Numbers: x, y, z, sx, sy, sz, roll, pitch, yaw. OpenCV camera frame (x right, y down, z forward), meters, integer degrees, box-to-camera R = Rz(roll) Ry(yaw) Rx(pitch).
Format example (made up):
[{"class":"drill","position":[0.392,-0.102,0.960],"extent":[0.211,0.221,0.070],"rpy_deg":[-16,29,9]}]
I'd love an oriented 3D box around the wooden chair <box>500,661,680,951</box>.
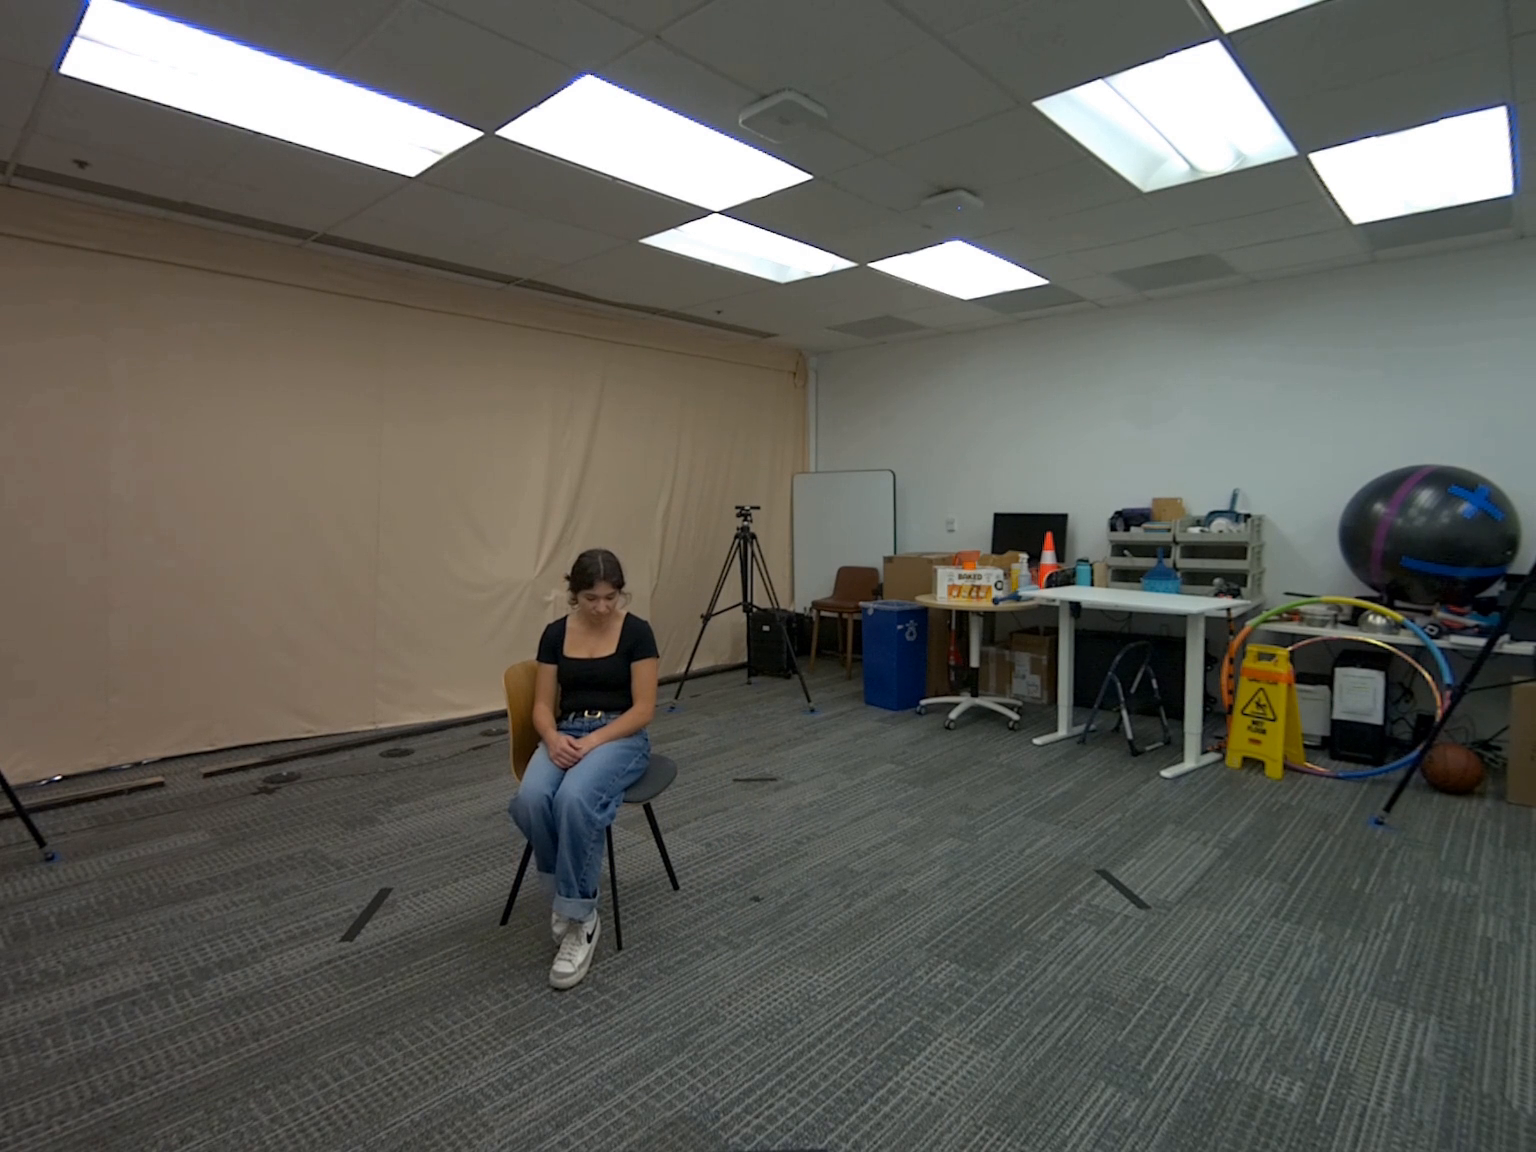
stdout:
[{"class":"wooden chair","position":[-0.604,0.731,2.908],"extent":[0.534,0.875,0.469],"rpy_deg":[-3,3,20]}]
